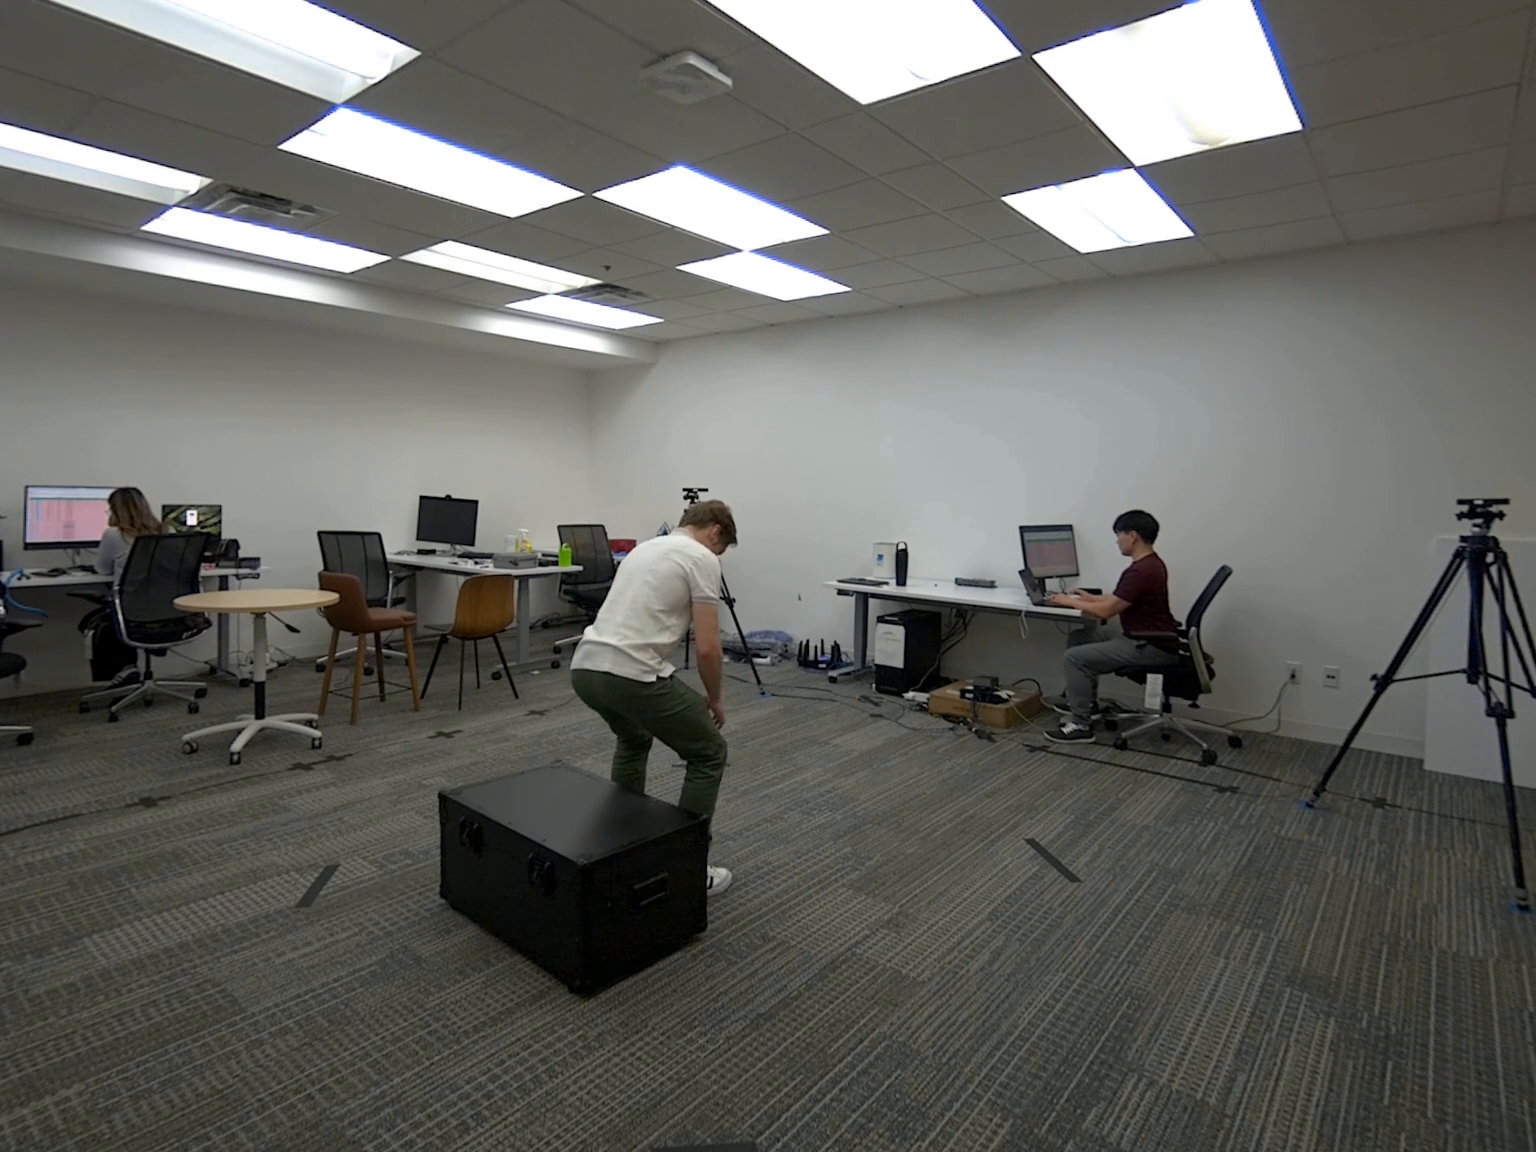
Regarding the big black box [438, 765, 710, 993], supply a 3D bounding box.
[{"bbox_3d":[-0.671,0.902,2.740,0.898,0.383,0.508,6,8,42],"label":"big black box"}]
